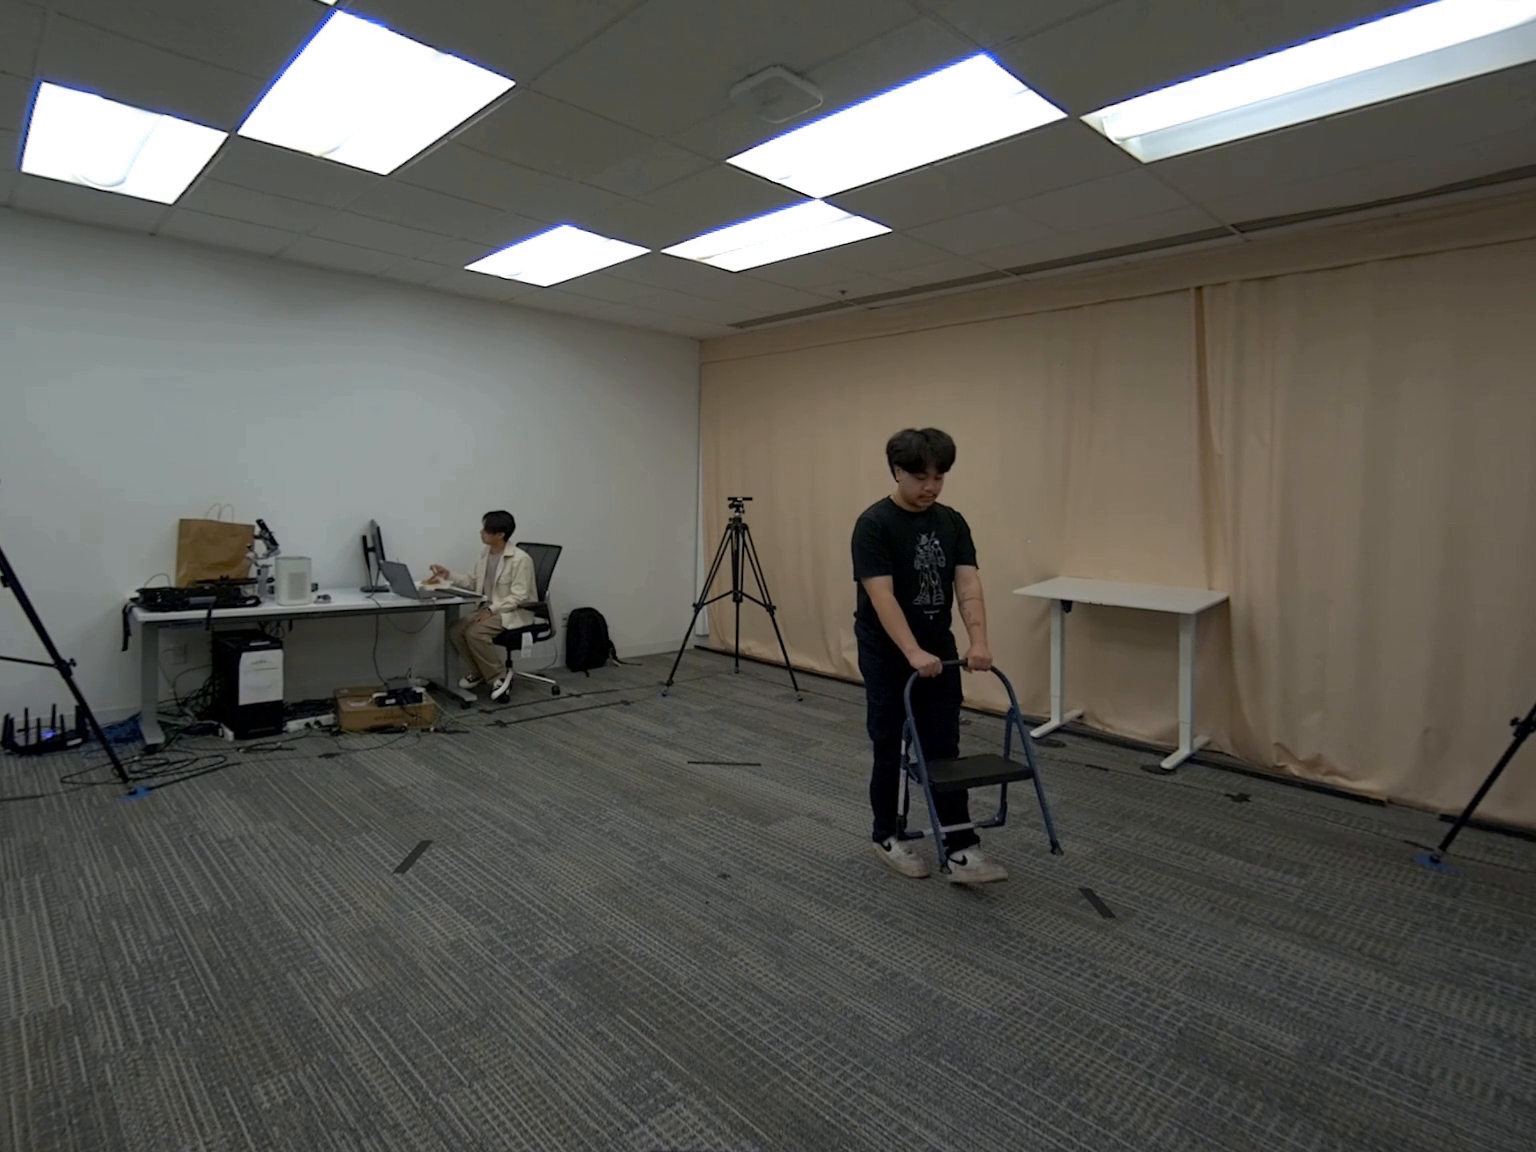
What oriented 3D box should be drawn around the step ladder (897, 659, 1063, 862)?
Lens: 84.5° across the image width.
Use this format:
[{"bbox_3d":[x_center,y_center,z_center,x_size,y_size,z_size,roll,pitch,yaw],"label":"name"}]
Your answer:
[{"bbox_3d":[0.663,0.601,2.789,0.425,0.607,0.353,-3,-1,-17],"label":"step ladder"}]
